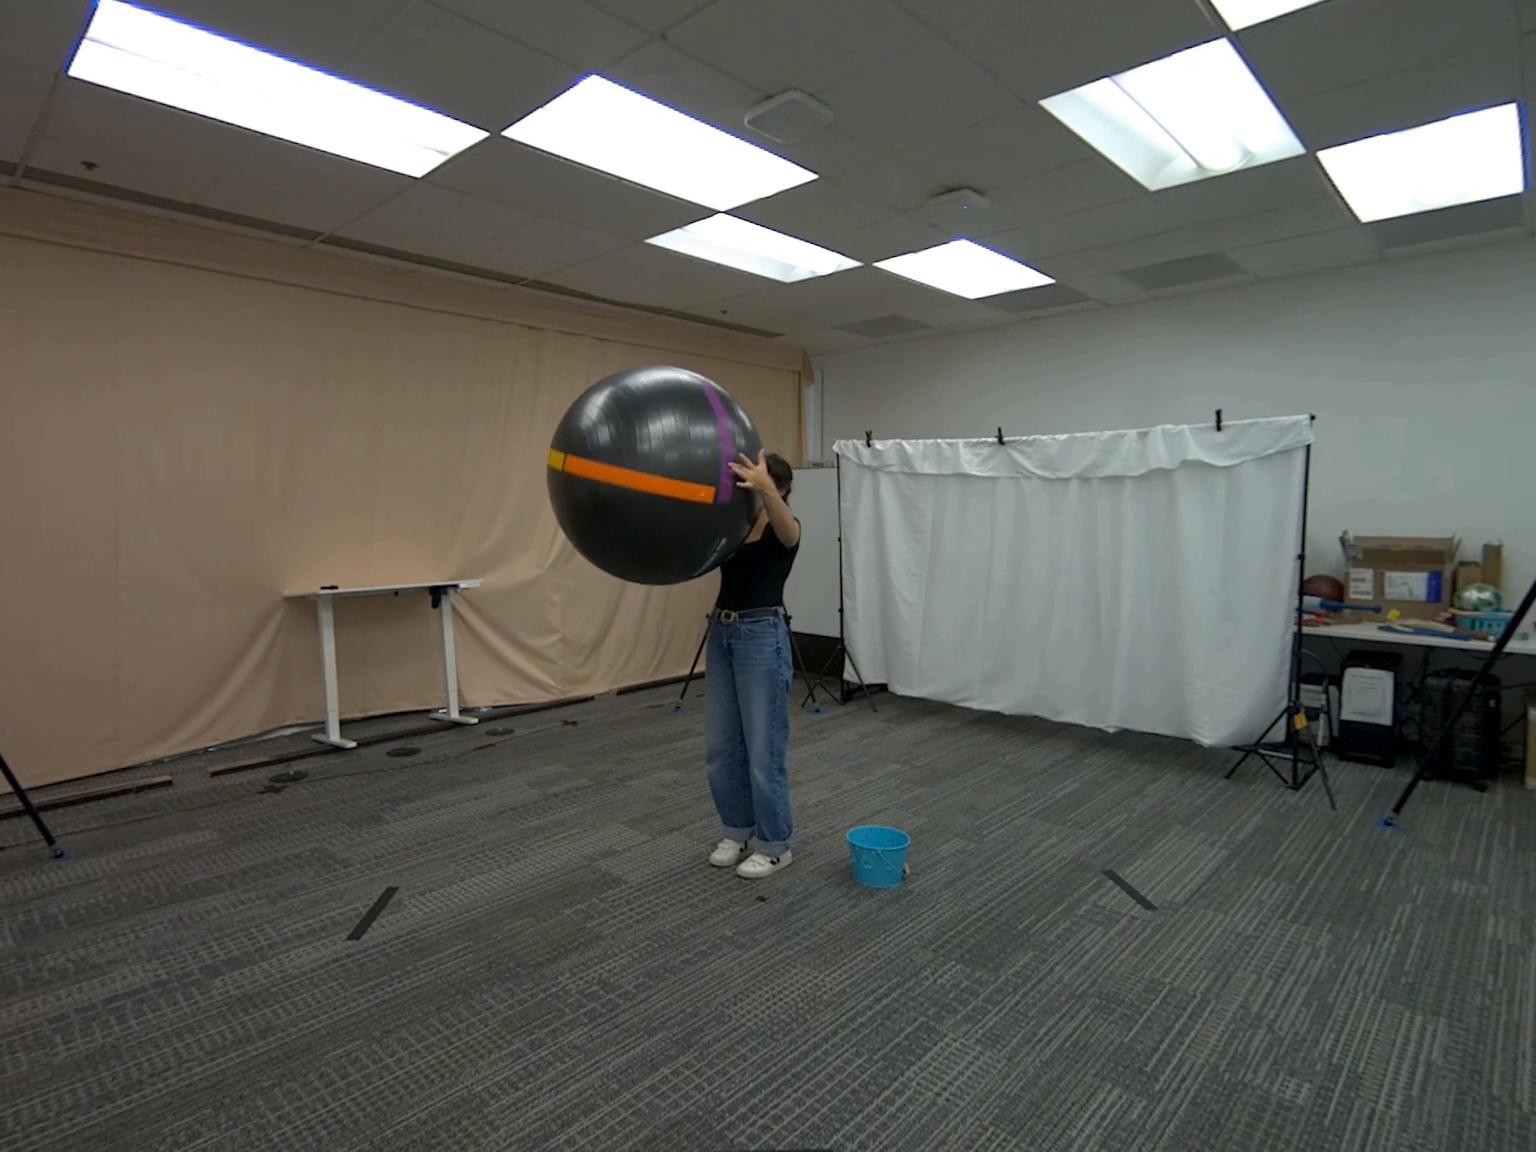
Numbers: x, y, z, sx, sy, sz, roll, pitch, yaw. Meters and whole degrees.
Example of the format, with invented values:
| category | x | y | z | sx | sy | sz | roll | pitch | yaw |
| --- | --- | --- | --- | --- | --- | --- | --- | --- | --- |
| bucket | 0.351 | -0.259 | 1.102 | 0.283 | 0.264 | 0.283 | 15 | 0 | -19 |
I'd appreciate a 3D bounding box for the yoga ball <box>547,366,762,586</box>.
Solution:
| category | x | y | z | sx | sy | sz | roll | pitch | yaw |
| --- | --- | --- | --- | --- | --- | --- | --- | --- | --- |
| yoga ball | -0.383 | -0.333 | 2.923 | 0.757 | 0.756 | 0.760 | 0 | 4 | -2 |
